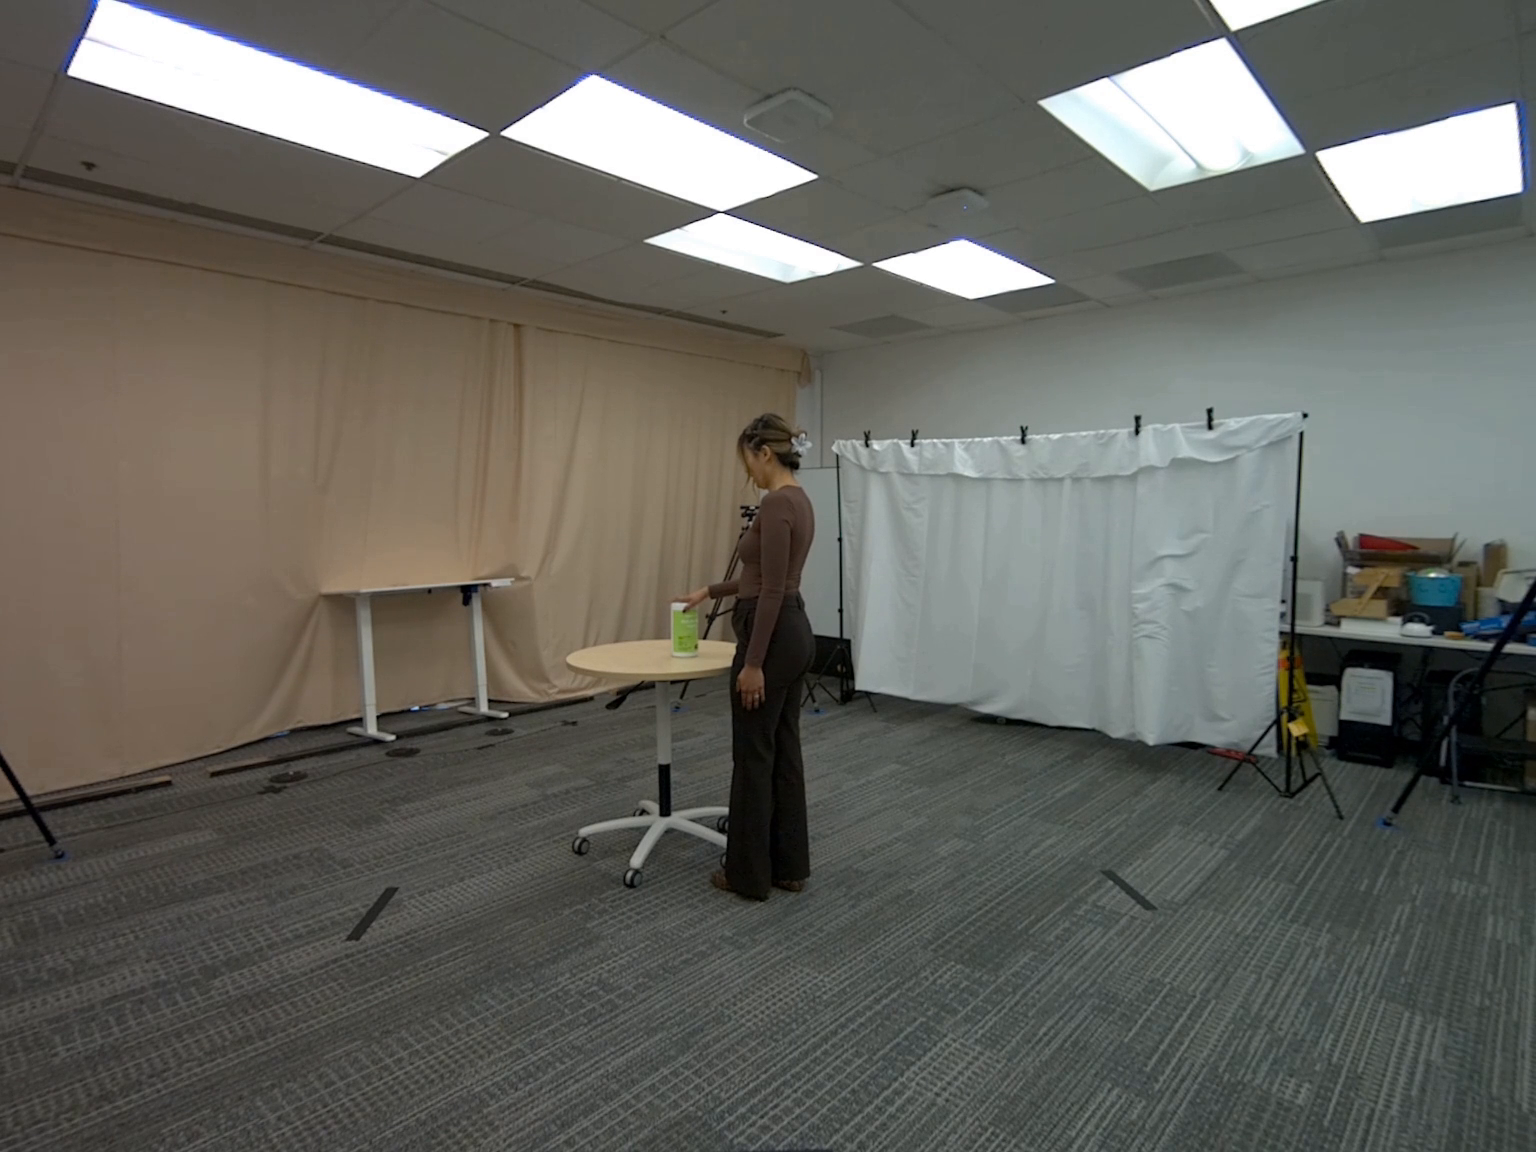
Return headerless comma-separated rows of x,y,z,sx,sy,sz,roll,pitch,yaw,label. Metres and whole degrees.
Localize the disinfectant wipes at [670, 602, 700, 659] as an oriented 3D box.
-0.333,0.211,3.353,0.117,0.217,0.118,2,5,-2,disinfectant wipes
